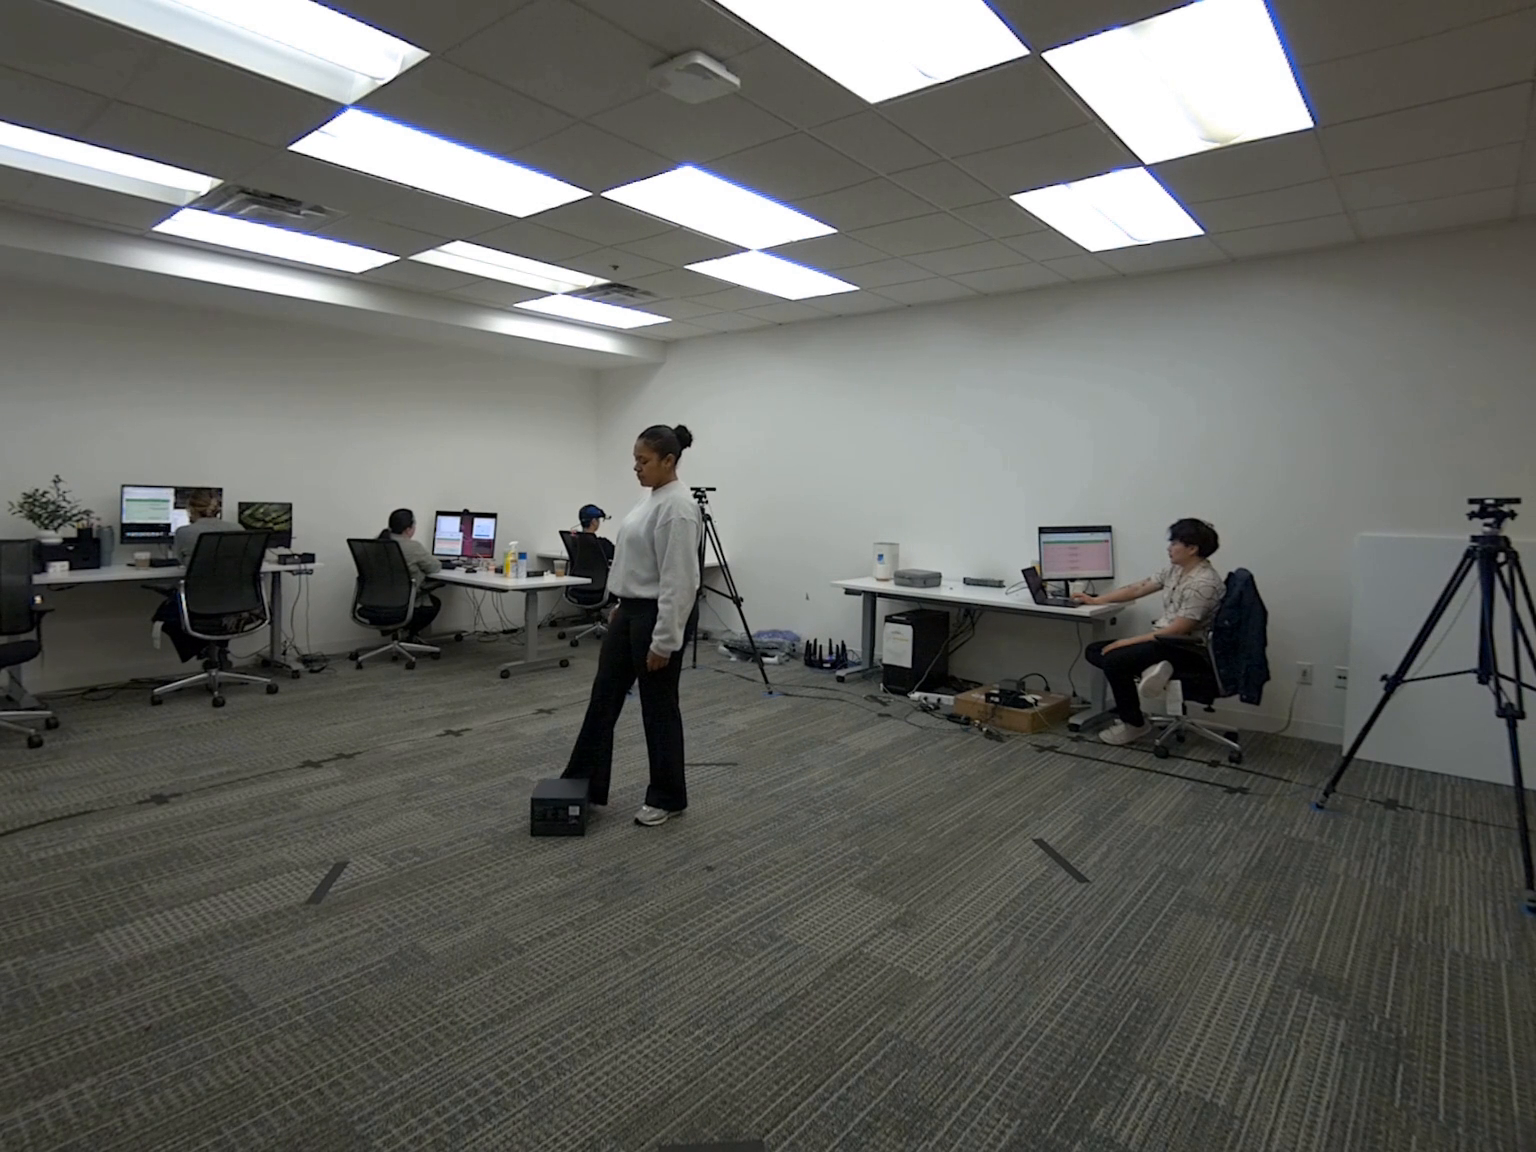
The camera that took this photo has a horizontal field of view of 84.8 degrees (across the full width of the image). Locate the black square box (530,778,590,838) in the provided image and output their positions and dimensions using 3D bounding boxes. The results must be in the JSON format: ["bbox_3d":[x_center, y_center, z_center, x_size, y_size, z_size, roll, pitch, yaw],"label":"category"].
[{"bbox_3d":[-0.858,0.937,3.478,0.216,0.155,0.230,1,5,-5],"label":"black square box"}]
